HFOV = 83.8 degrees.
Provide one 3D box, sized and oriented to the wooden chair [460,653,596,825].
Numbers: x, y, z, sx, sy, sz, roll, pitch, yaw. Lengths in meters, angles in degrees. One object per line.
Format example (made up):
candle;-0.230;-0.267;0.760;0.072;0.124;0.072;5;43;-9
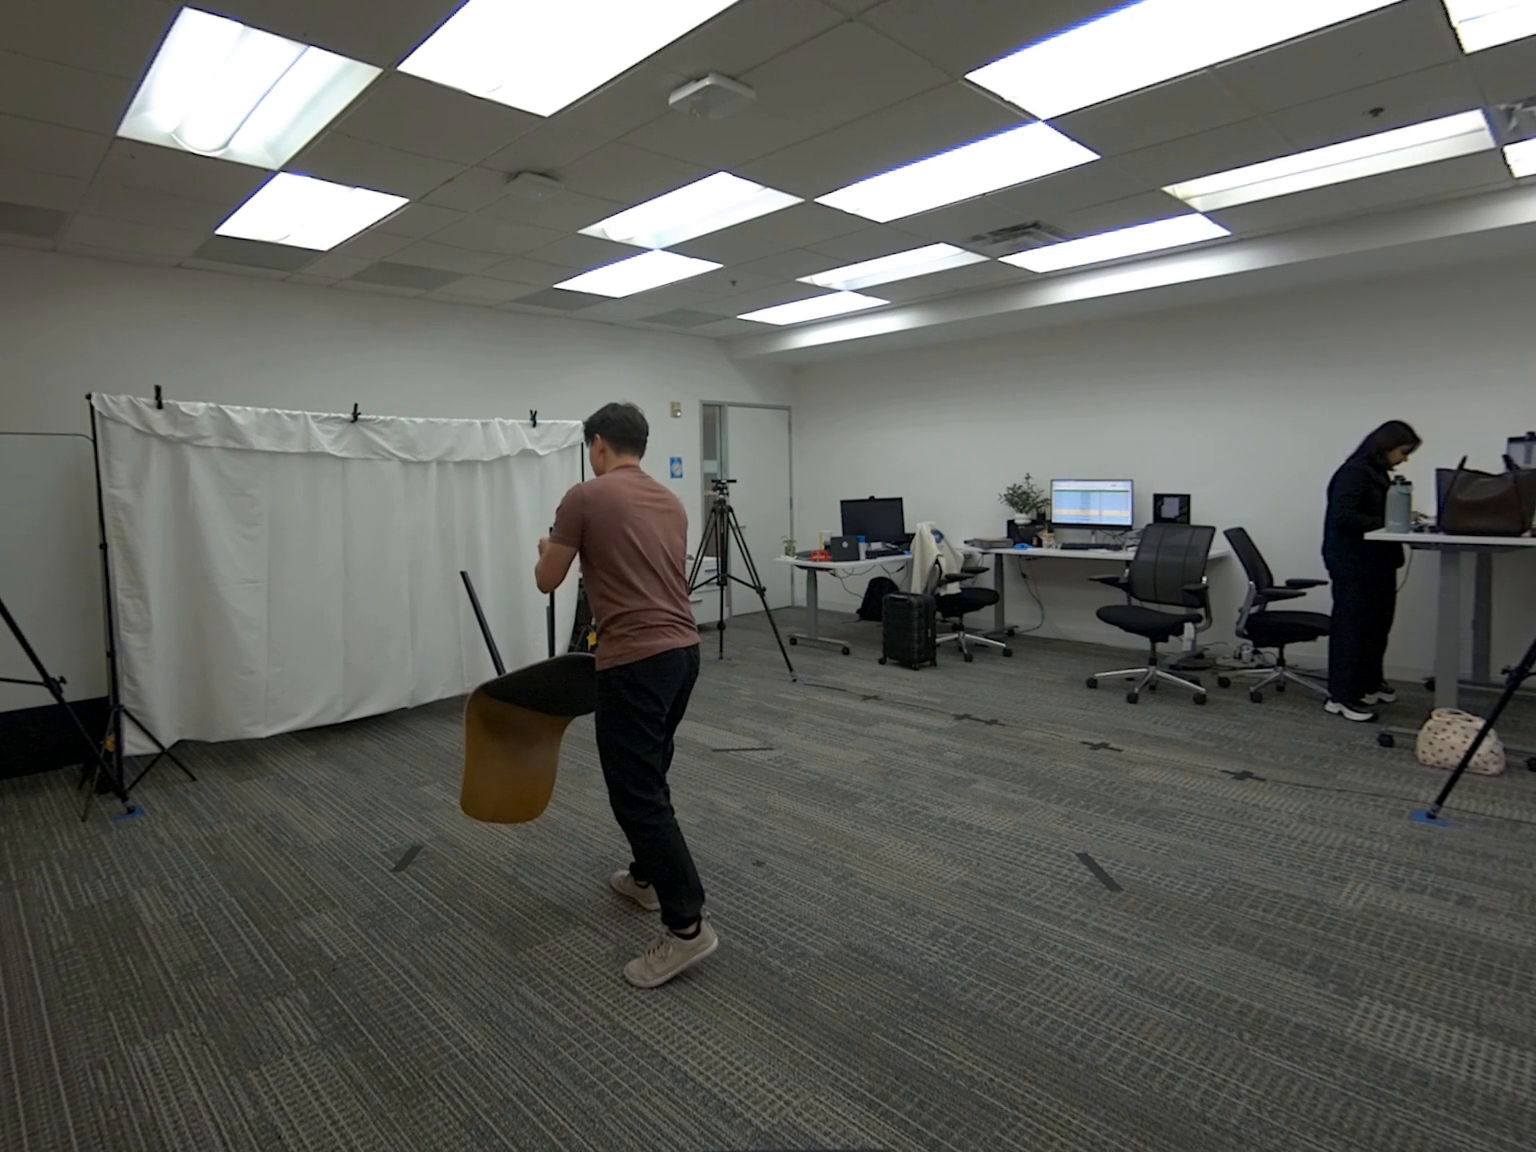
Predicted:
wooden chair;-0.723;0.357;2.921;0.531;0.898;0.460;-19;-30;27
